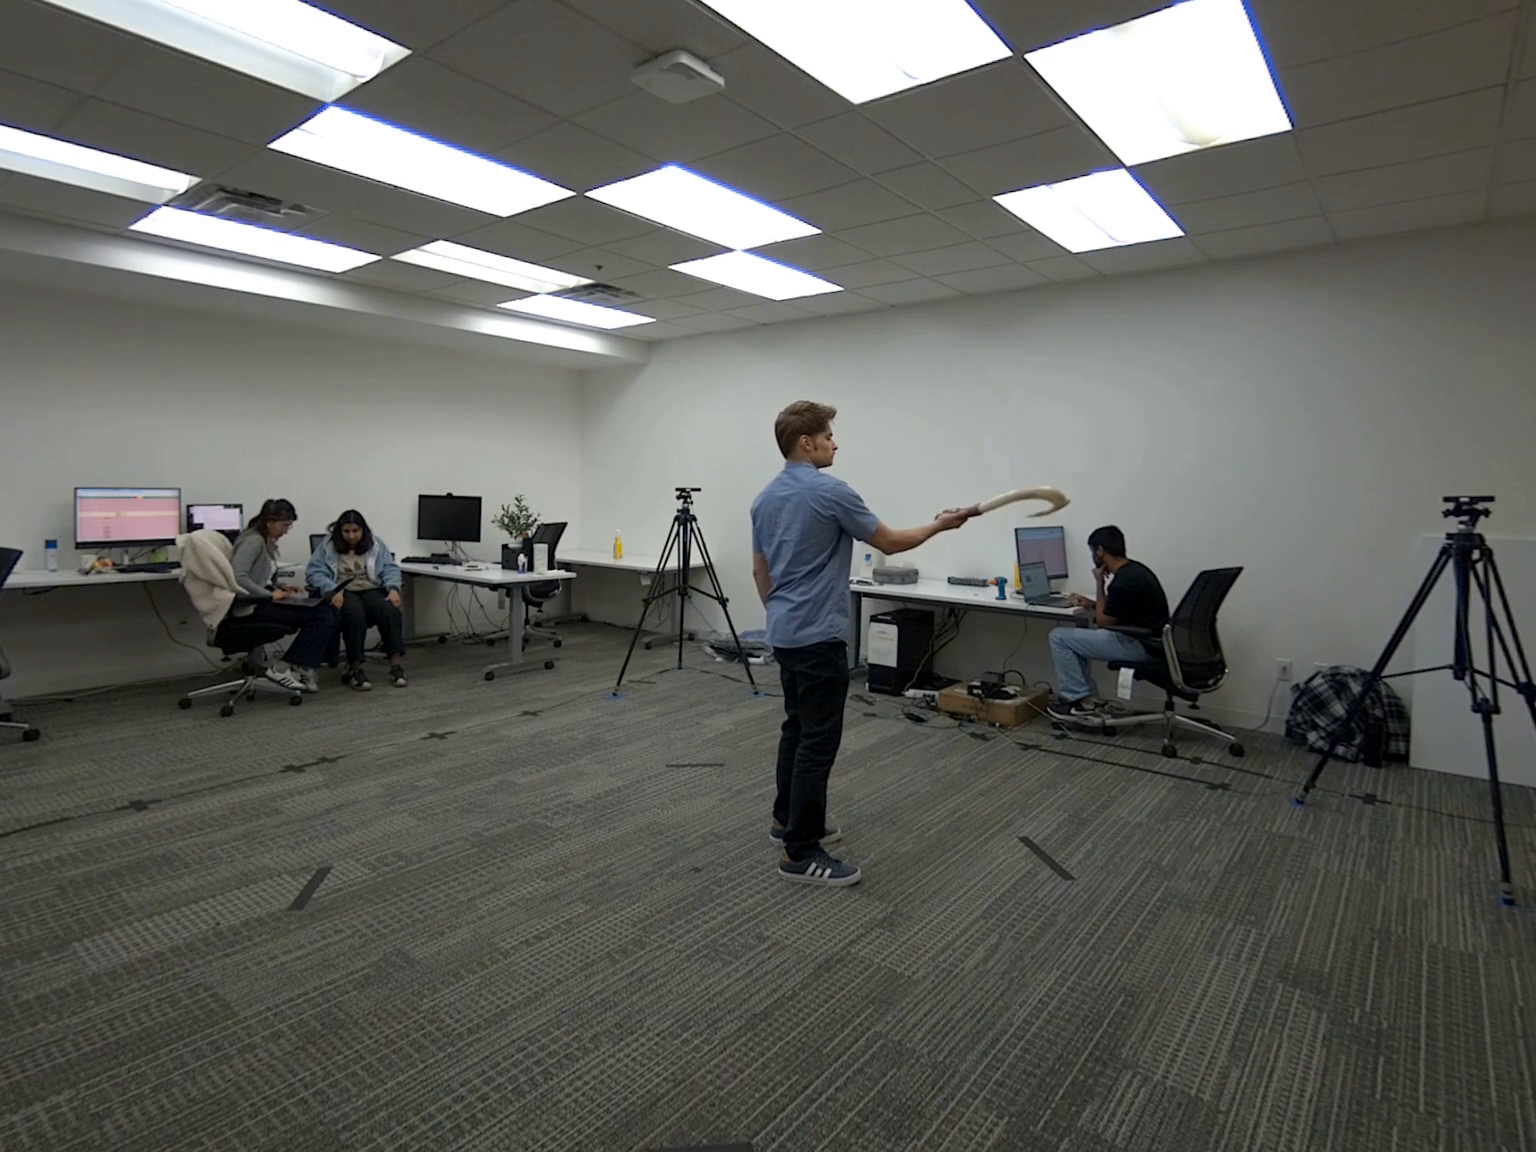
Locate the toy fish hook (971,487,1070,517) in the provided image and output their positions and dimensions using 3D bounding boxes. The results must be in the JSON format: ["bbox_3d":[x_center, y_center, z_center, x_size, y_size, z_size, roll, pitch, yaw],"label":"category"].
[{"bbox_3d":[0.842,-0.250,3.193,0.216,0.049,0.518,29,-29,-36],"label":"toy fish hook"}]
